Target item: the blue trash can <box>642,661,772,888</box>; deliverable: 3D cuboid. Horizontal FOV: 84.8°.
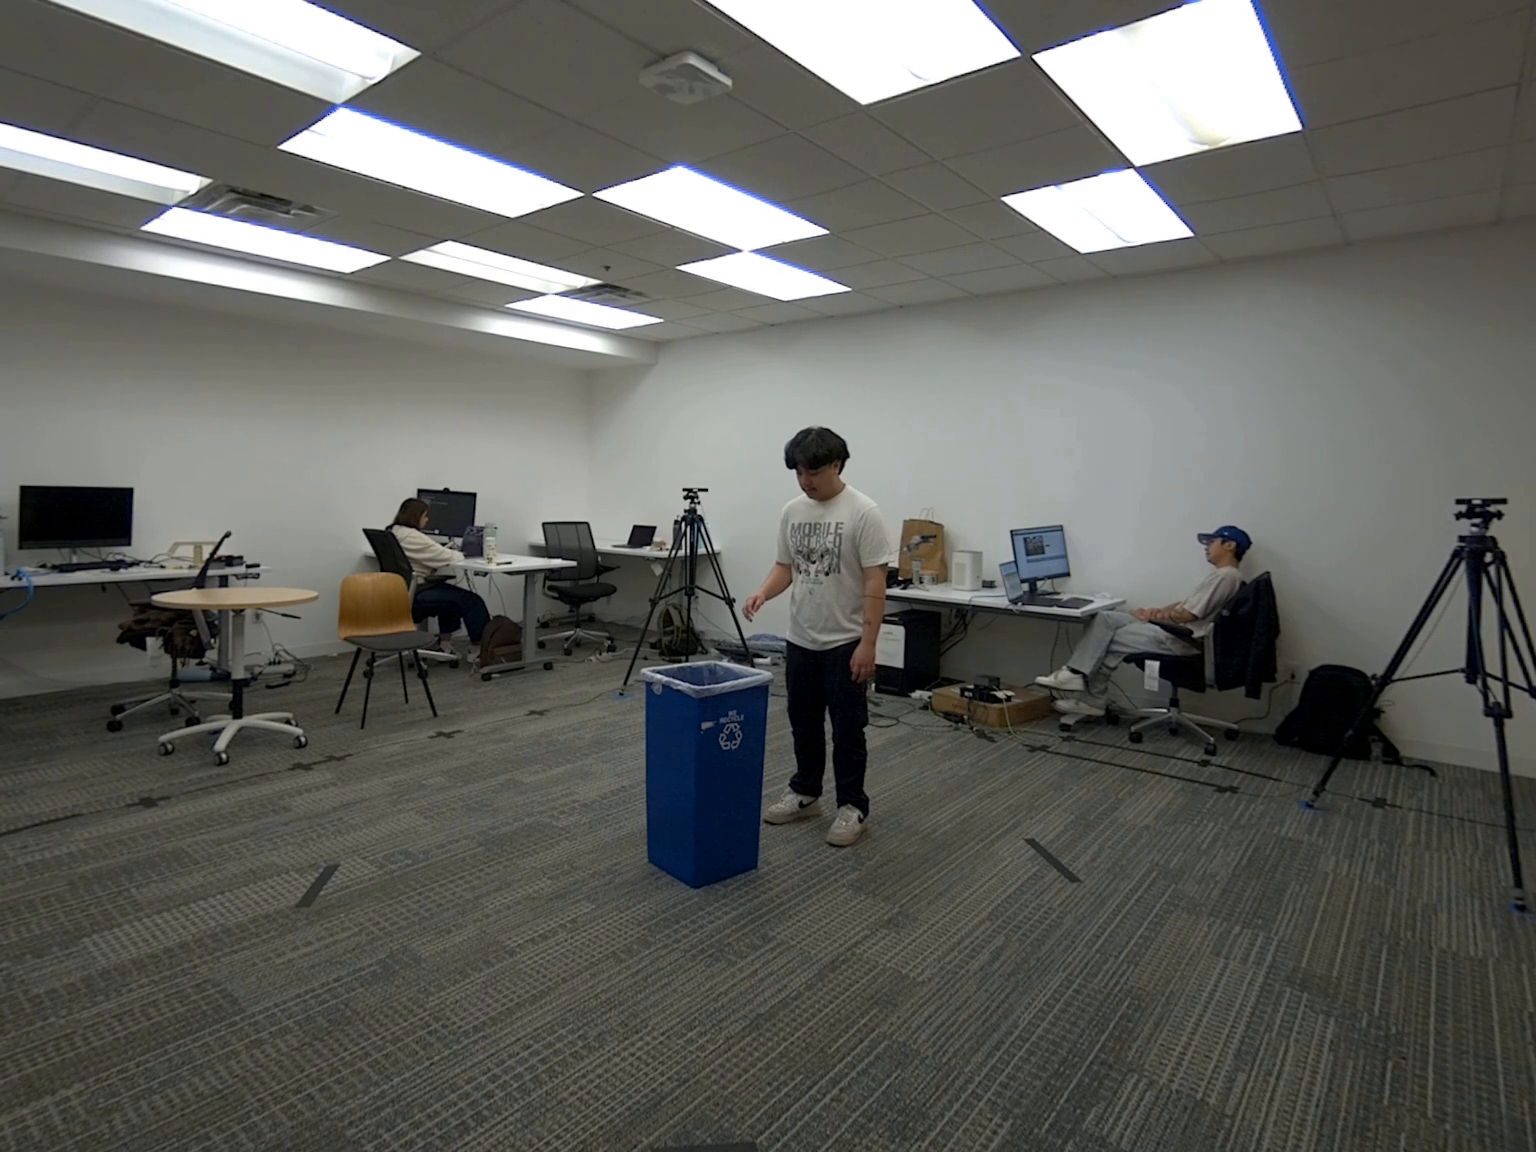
[{"bbox_3d":[-0.241,0.707,3.145,0.363,0.711,0.391,-2,4,-41],"label":"blue trash can"}]
